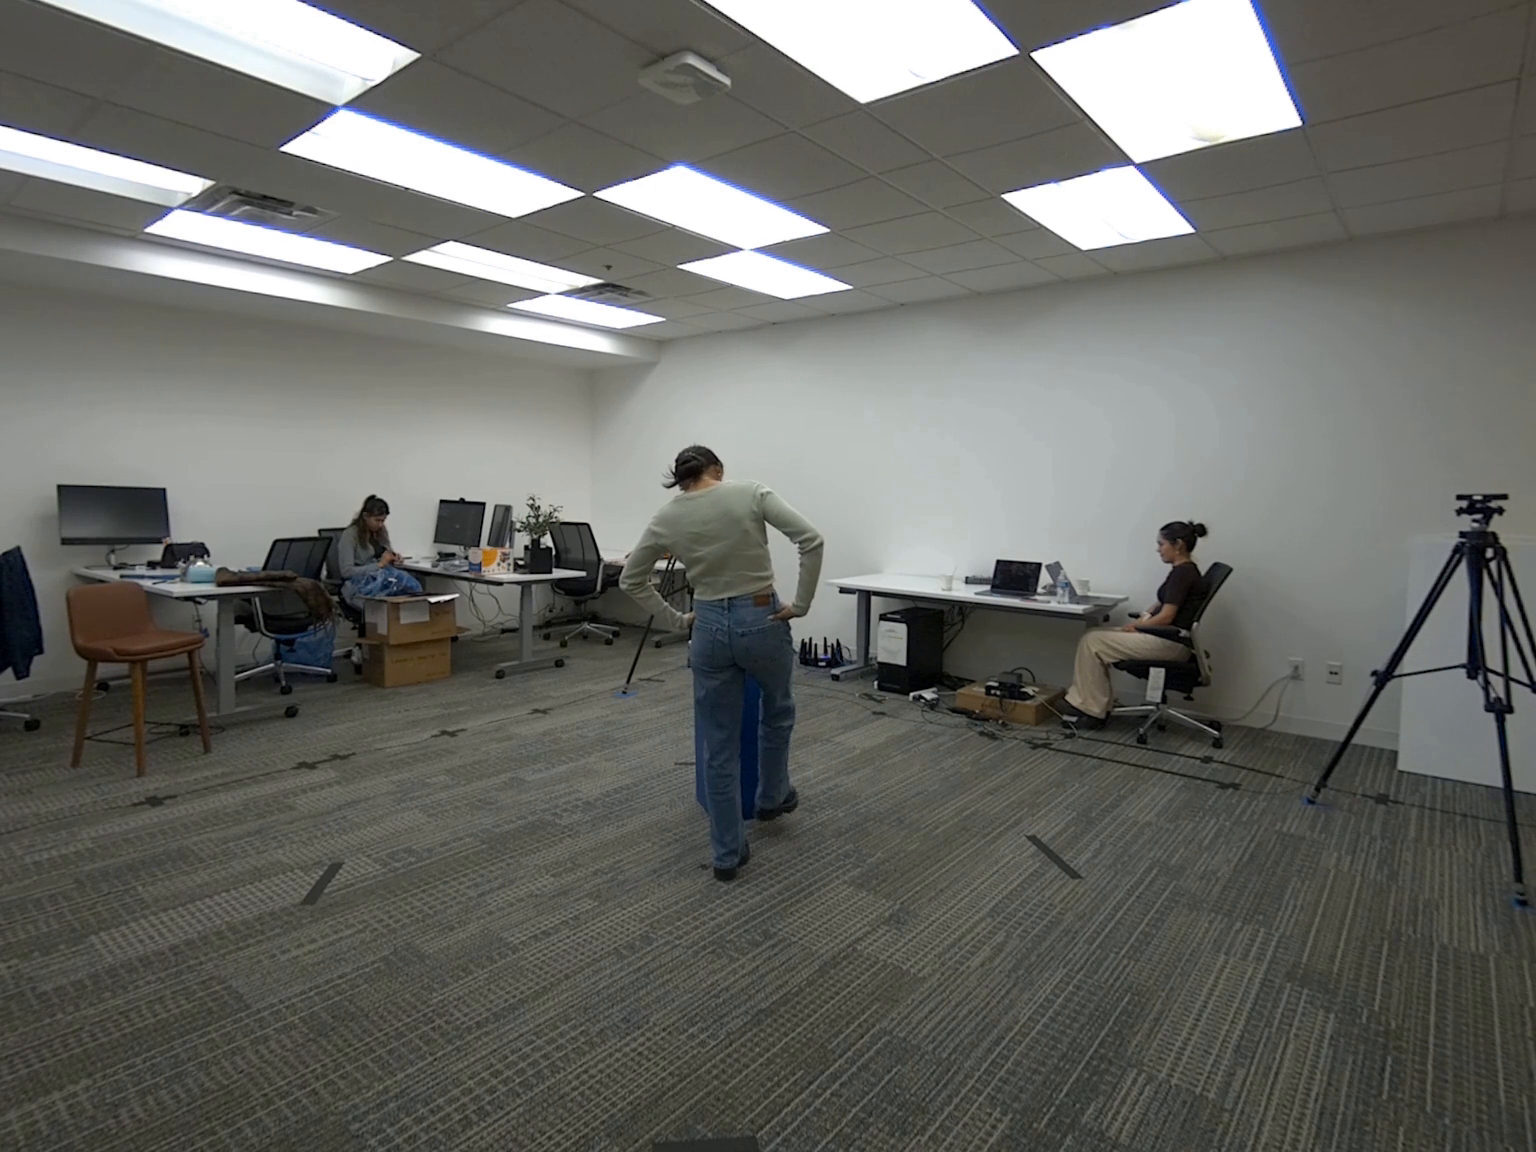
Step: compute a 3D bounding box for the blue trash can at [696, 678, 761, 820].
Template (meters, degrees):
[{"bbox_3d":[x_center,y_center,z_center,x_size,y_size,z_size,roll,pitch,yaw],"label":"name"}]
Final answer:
[{"bbox_3d":[-0.136,0.646,3.704,0.370,0.711,0.383,0,3,-21],"label":"blue trash can"}]
